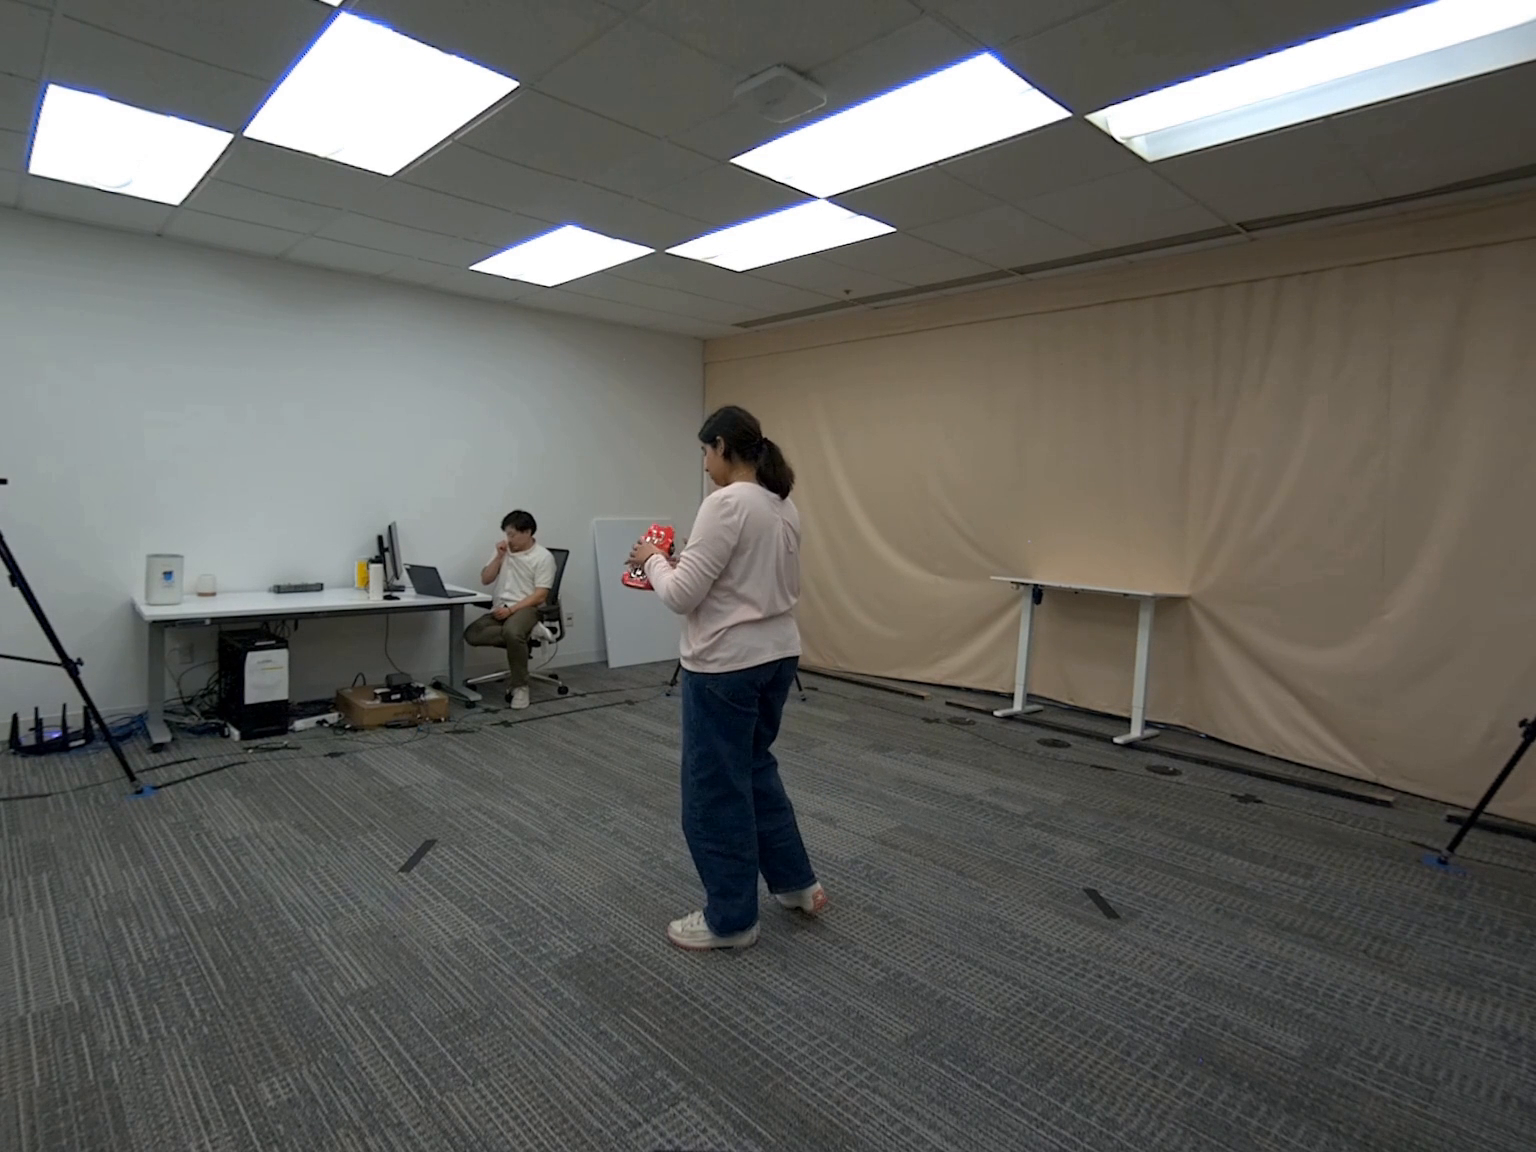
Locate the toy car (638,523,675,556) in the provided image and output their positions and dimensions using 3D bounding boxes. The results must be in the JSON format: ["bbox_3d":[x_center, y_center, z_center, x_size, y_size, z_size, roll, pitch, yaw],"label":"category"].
[{"bbox_3d":[-0.379,-0.058,2.759,0.132,0.257,0.081,9,-25,17],"label":"toy car"}]
